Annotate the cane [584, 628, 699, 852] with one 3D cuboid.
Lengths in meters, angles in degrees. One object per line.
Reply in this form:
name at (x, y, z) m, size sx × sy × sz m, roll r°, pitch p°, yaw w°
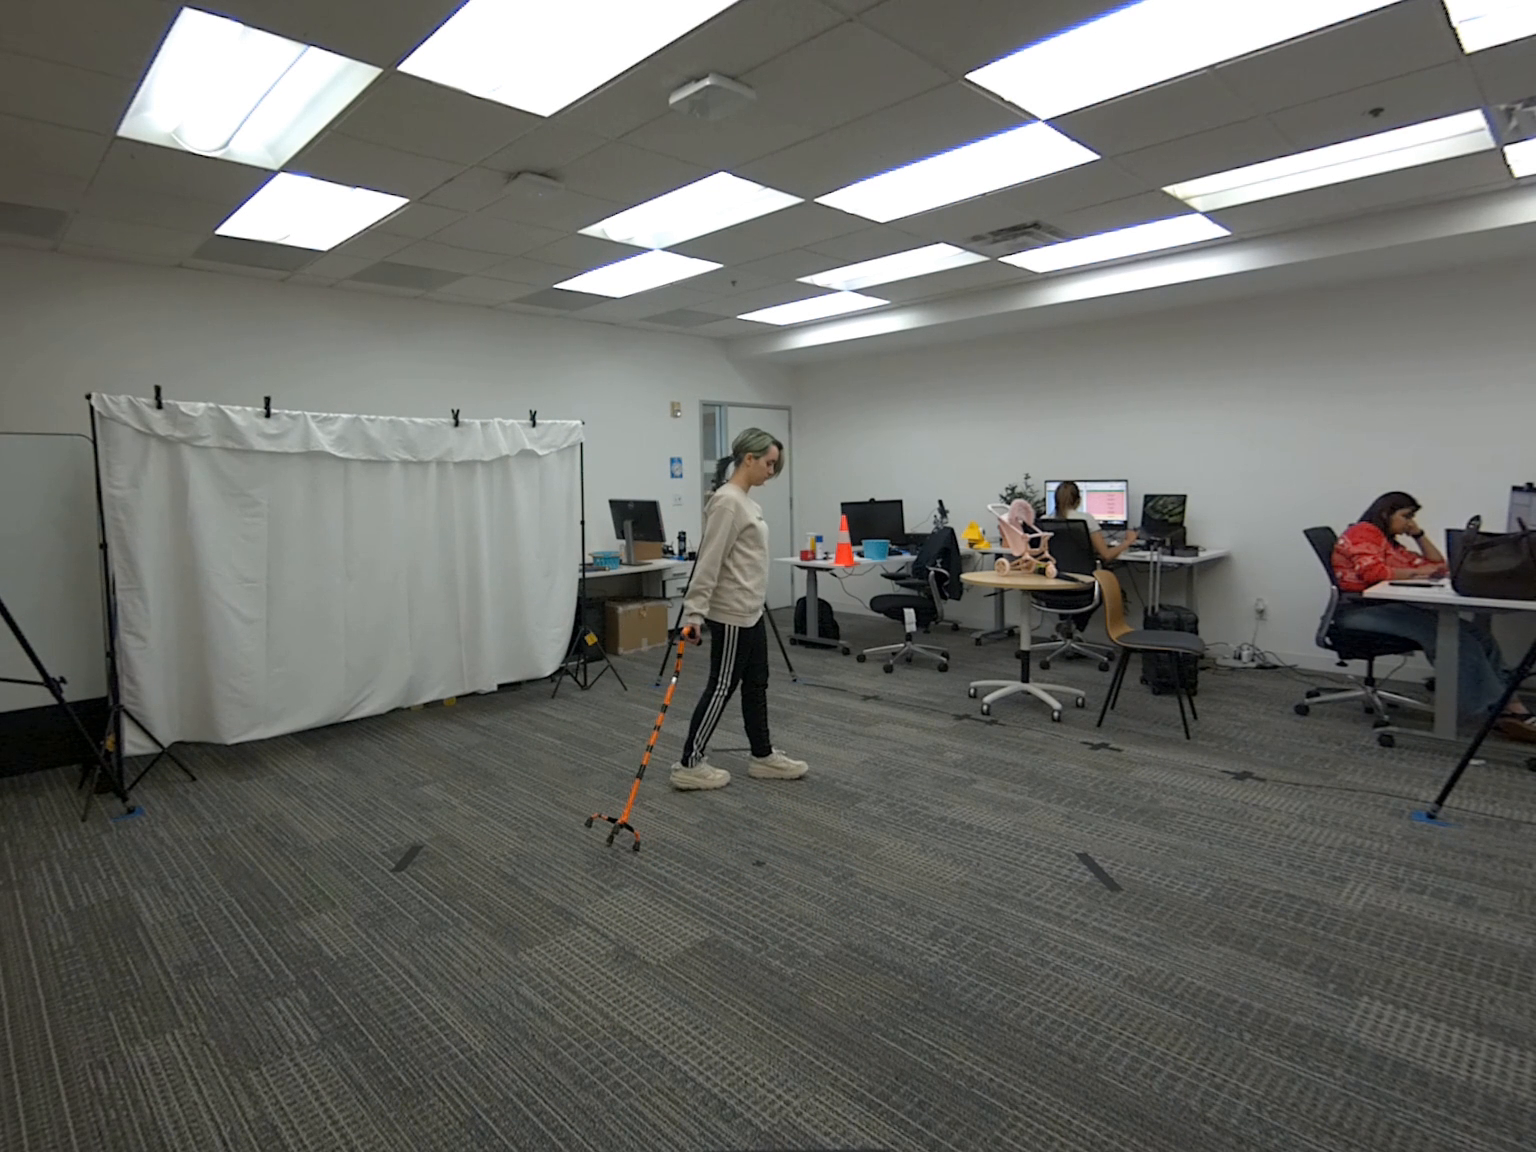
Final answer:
cane at (-0.462, 0.607, 3.420) m, size 0.155 × 0.921 × 0.198 m, roll -1°, pitch -35°, yaw 28°
